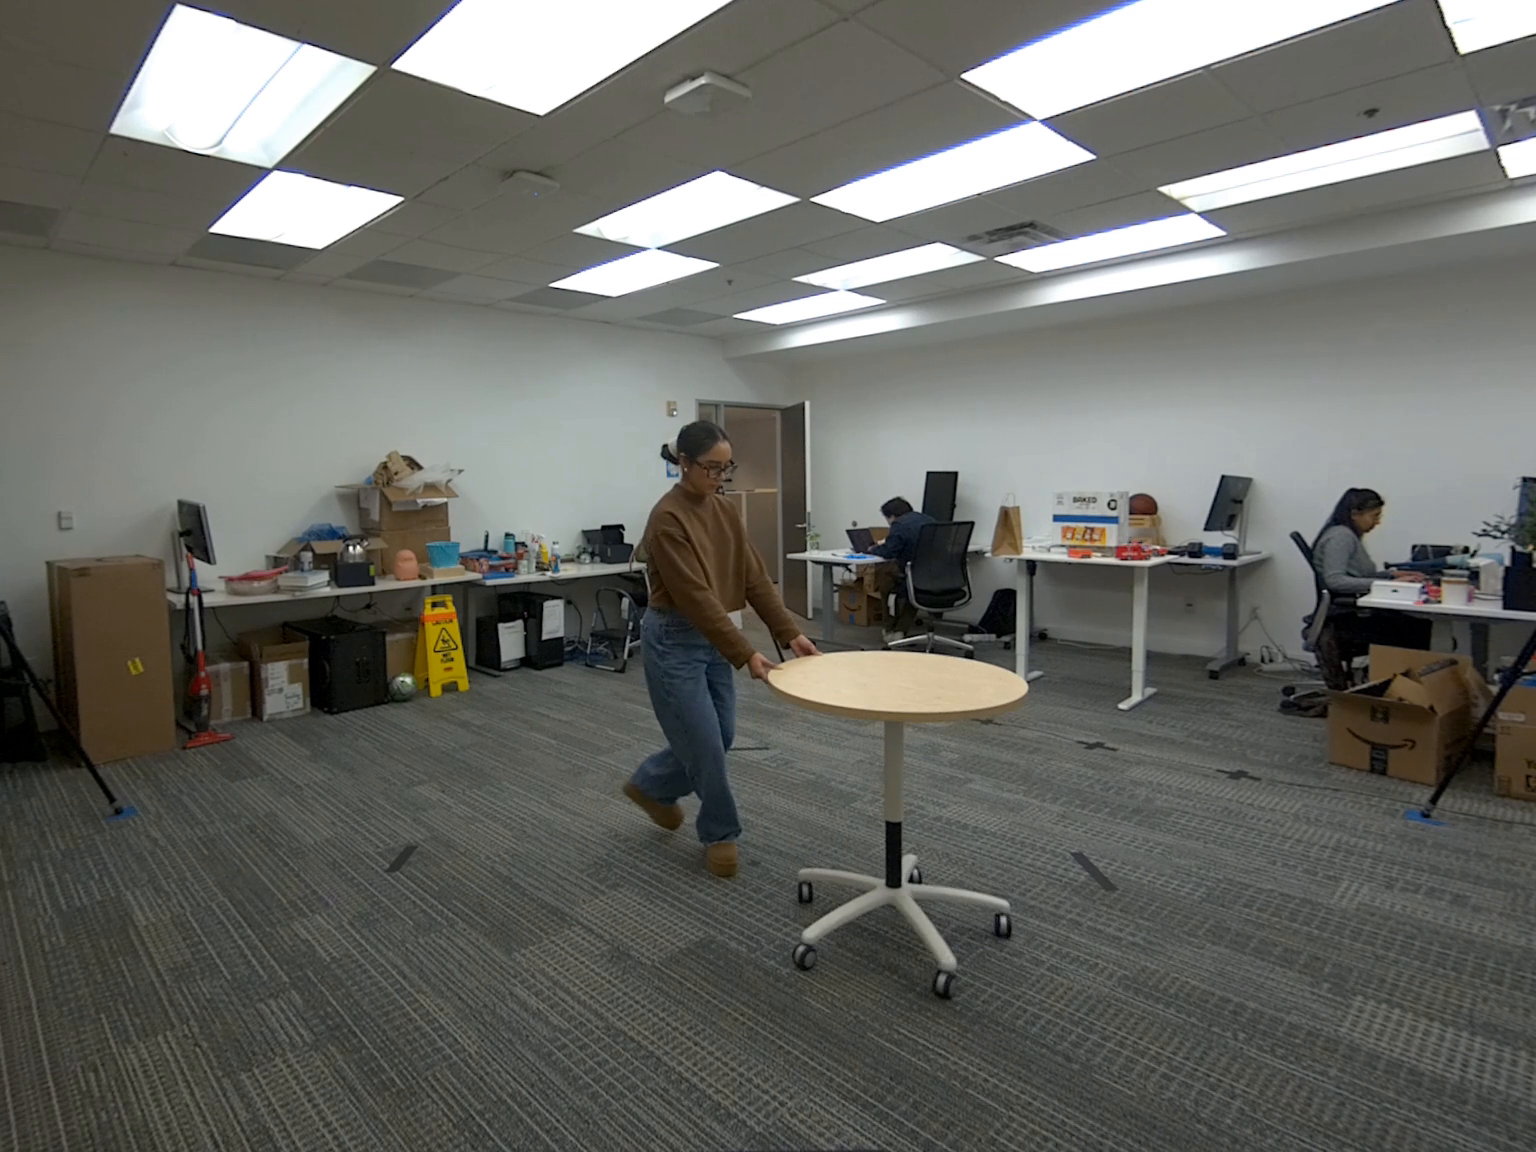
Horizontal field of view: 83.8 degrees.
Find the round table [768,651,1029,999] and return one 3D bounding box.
[{"bbox_3d":[0.355,0.697,2.609,0.784,0.783,0.789,0,5,-2],"label":"round table"}]
